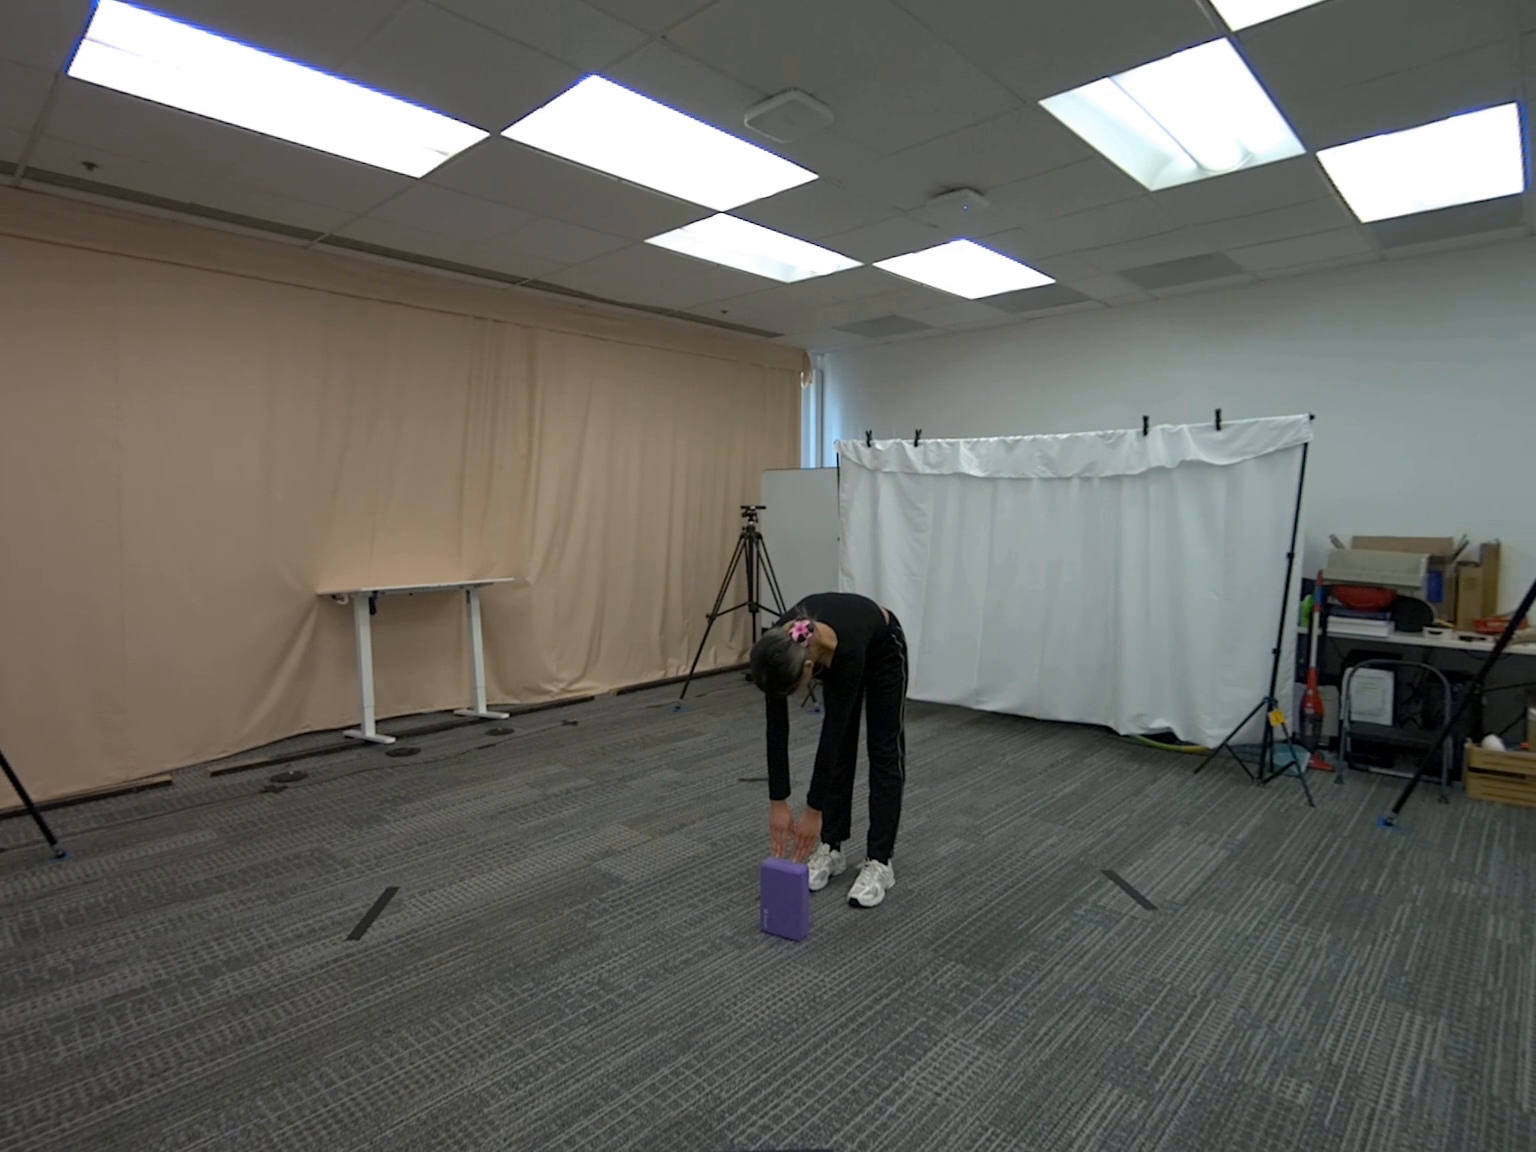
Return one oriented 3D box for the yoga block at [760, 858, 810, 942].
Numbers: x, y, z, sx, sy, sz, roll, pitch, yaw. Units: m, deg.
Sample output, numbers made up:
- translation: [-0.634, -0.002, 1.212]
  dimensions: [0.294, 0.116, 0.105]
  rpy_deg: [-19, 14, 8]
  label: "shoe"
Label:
- translation: [0.060, 1.050, 2.739]
  dimensions: [0.153, 0.229, 0.074]
  rpy_deg: [2, 2, 28]
  label: "yoga block"
